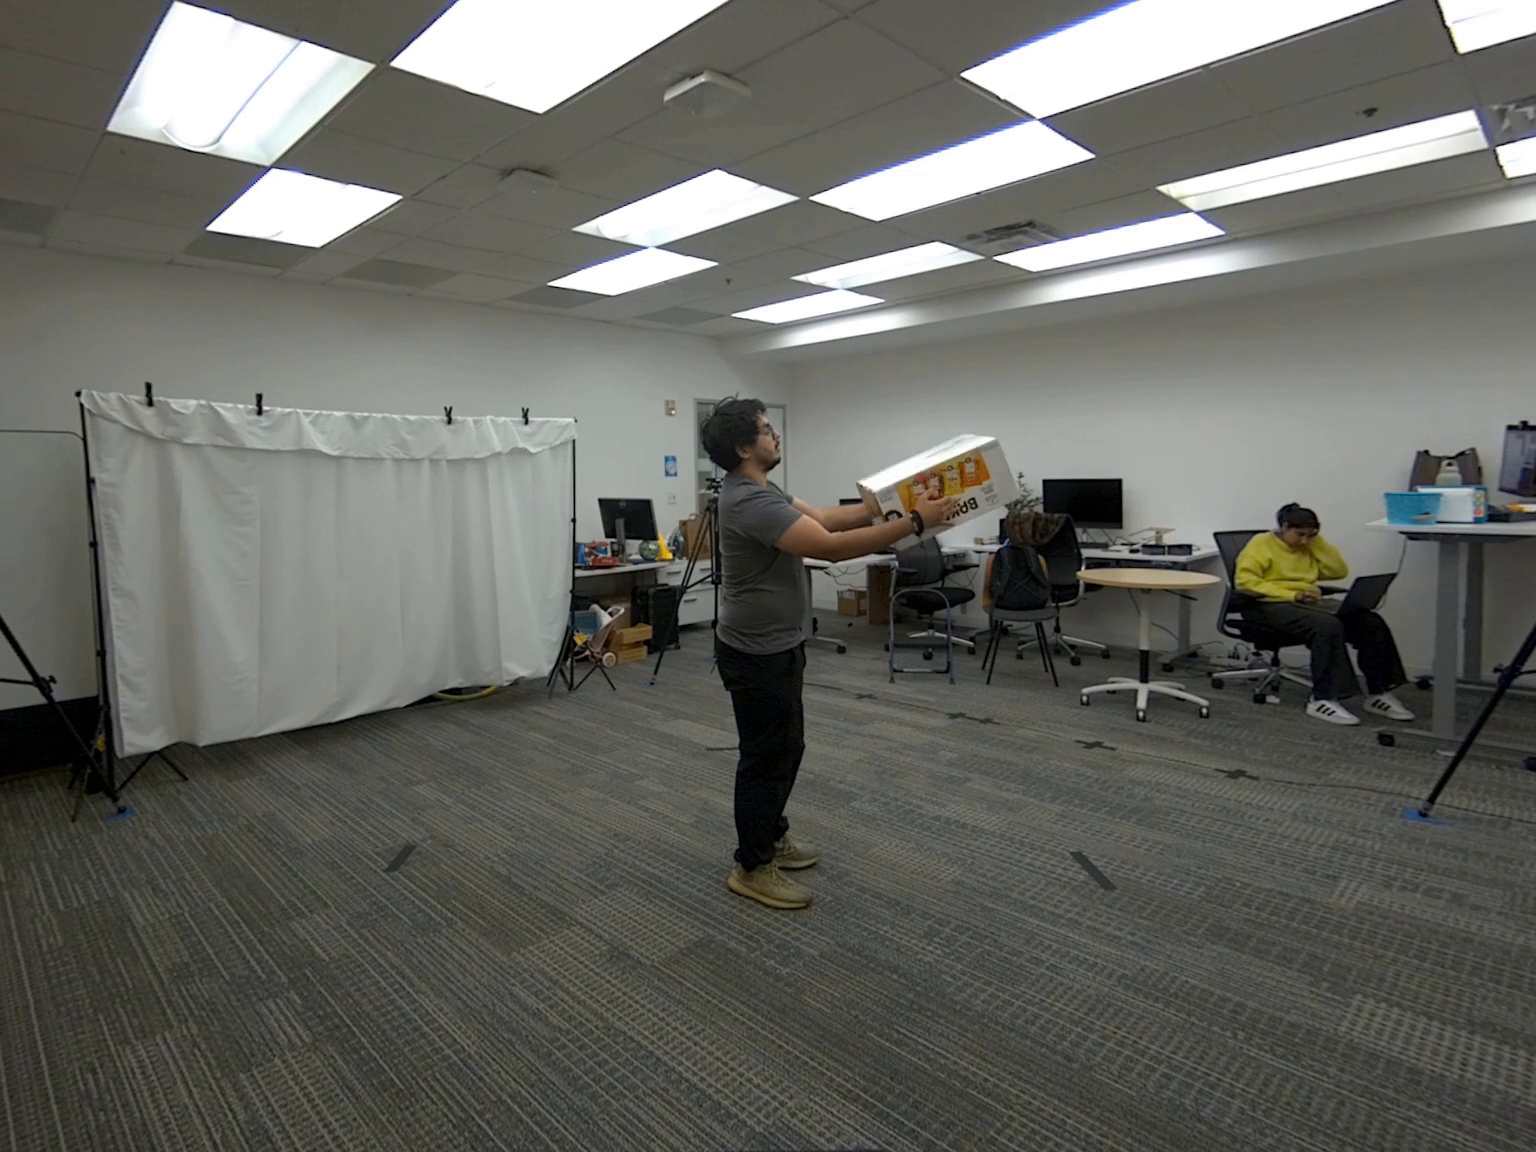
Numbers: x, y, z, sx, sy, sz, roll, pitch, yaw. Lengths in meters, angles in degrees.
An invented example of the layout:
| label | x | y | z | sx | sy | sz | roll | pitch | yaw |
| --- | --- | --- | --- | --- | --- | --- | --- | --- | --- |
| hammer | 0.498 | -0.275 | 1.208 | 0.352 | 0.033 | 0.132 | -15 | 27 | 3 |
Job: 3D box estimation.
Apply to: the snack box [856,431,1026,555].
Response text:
| label | x | y | z | sx | sy | sz | roll | pitch | yaw |
| --- | --- | --- | --- | --- | --- | --- | --- | --- | --- |
| snack box | 0.538 | -0.280 | 2.754 | 0.406 | 0.203 | 0.344 | -24 | 12 | 3 |
